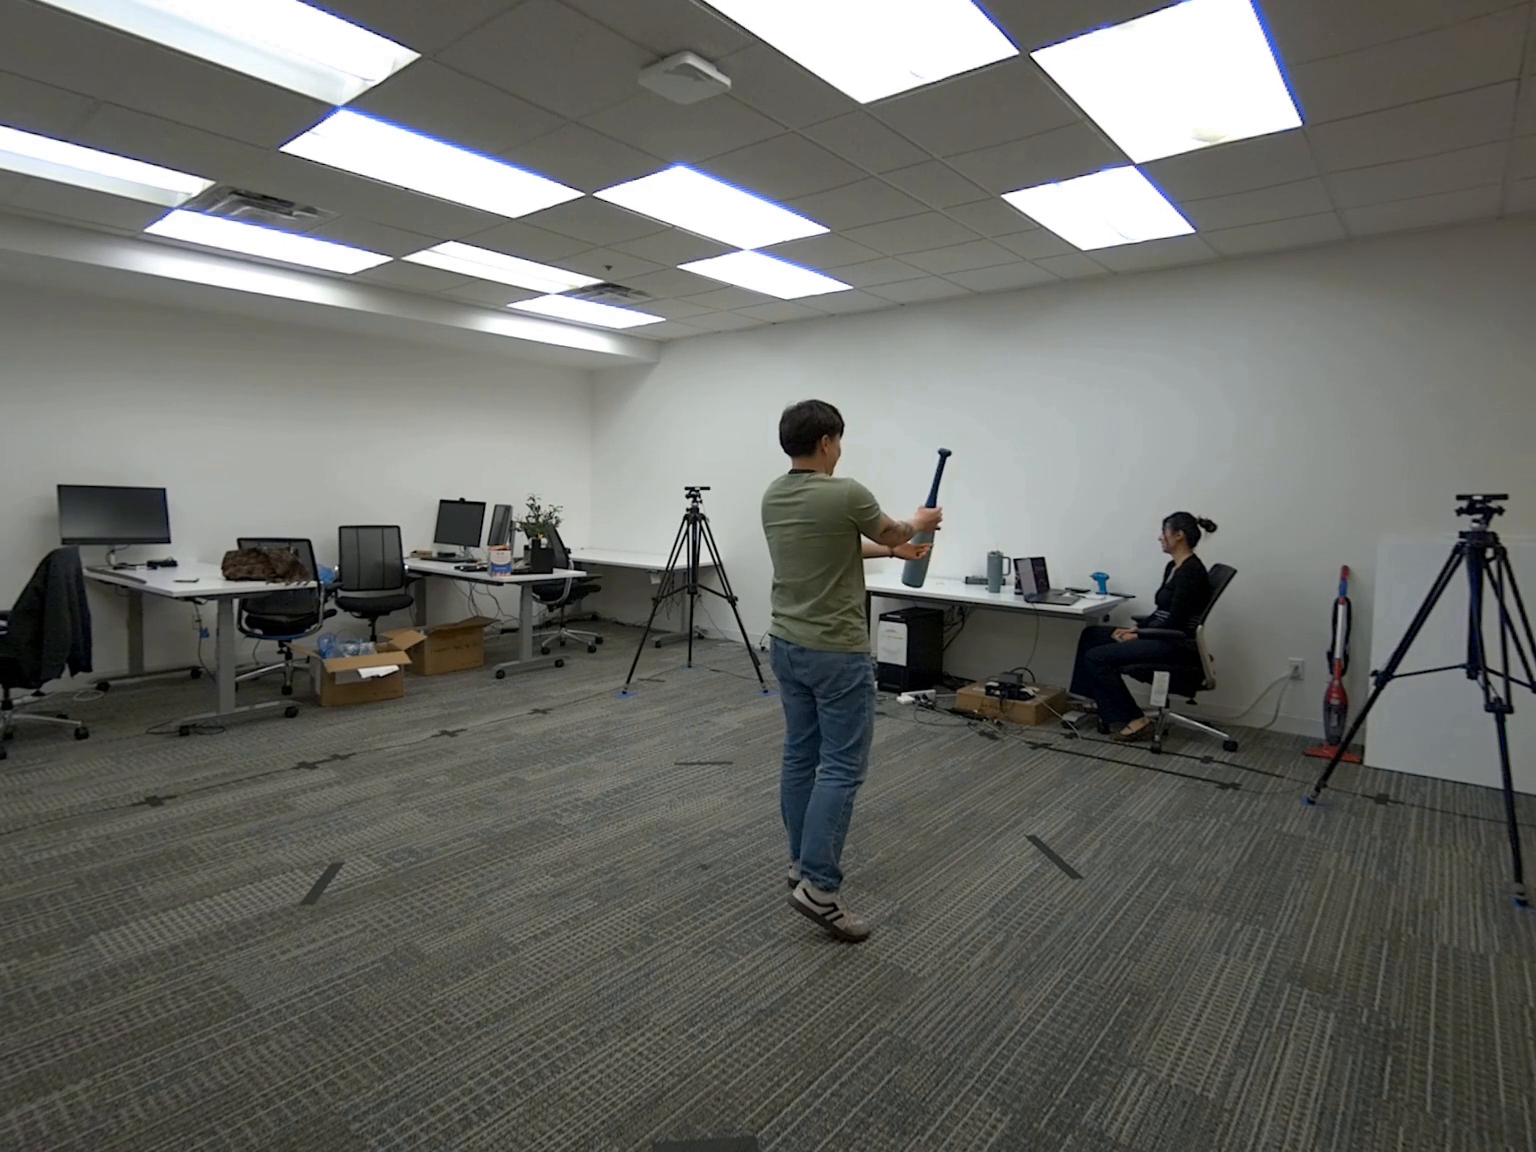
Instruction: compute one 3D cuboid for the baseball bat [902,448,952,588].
[{"bbox_3d":[0.602,-0.217,3.211,0.088,0.537,0.090,11,16,-5],"label":"baseball bat"}]
